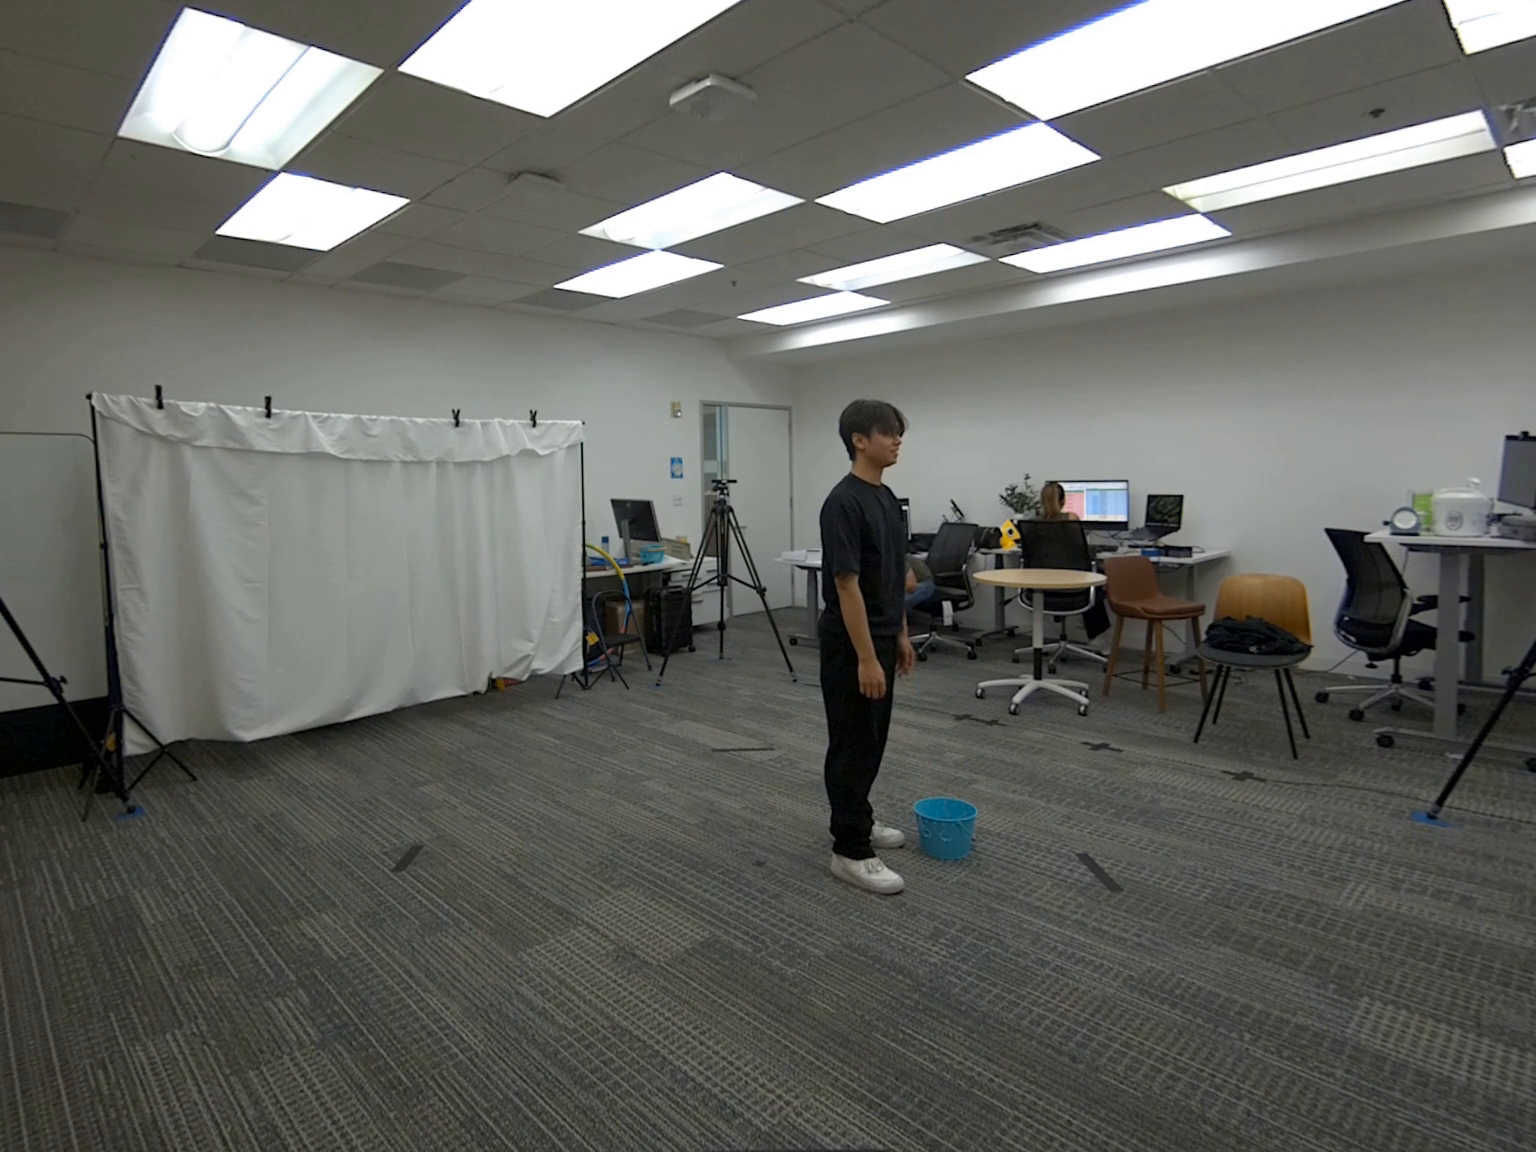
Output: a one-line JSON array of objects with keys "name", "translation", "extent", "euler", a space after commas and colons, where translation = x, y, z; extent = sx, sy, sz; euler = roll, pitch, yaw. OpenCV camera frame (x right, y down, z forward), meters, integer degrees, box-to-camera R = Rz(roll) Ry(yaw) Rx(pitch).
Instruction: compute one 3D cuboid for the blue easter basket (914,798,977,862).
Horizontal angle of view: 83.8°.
[{"name": "blue easter basket", "translation": [0.659, 0.943, 3.206], "extent": [0.243, 0.155, 0.245], "euler": [-1, 5, -2]}]
